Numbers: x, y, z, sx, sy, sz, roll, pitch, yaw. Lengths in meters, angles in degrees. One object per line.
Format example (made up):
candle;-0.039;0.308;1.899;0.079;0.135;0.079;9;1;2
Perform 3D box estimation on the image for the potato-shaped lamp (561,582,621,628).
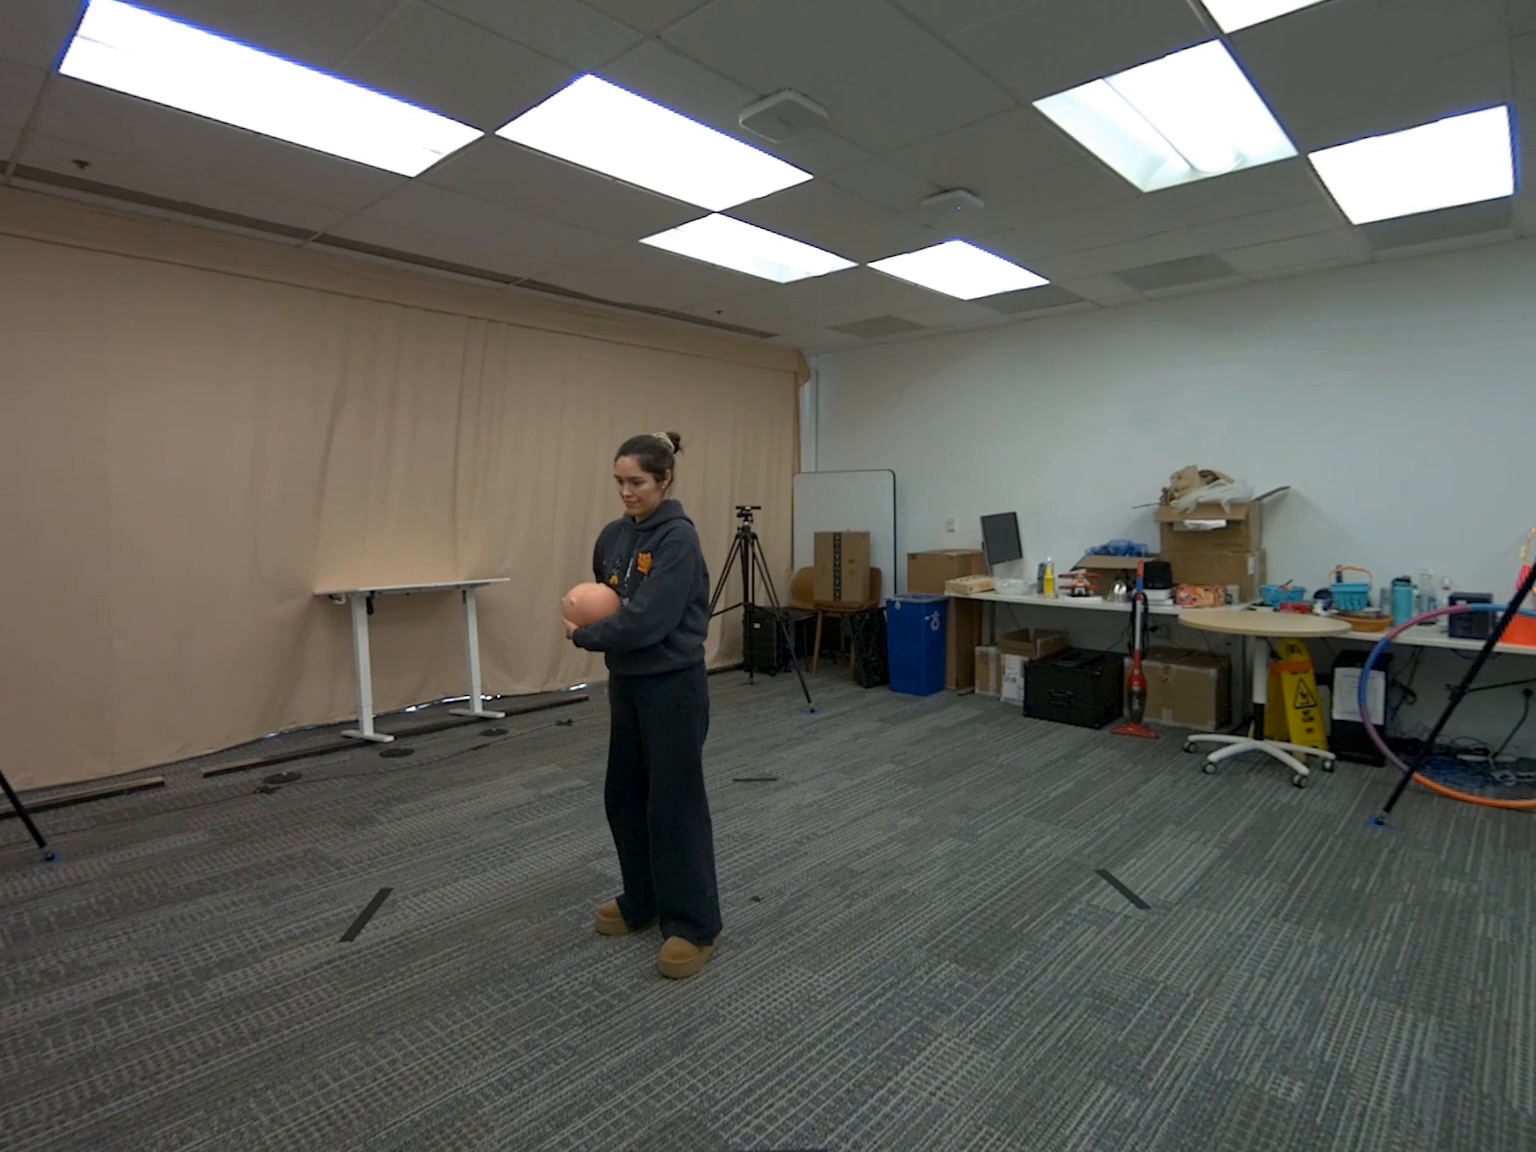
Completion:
potato-shaped lamp;-0.539;0.103;2.664;0.161;0.171;0.202;-24;2;-34
